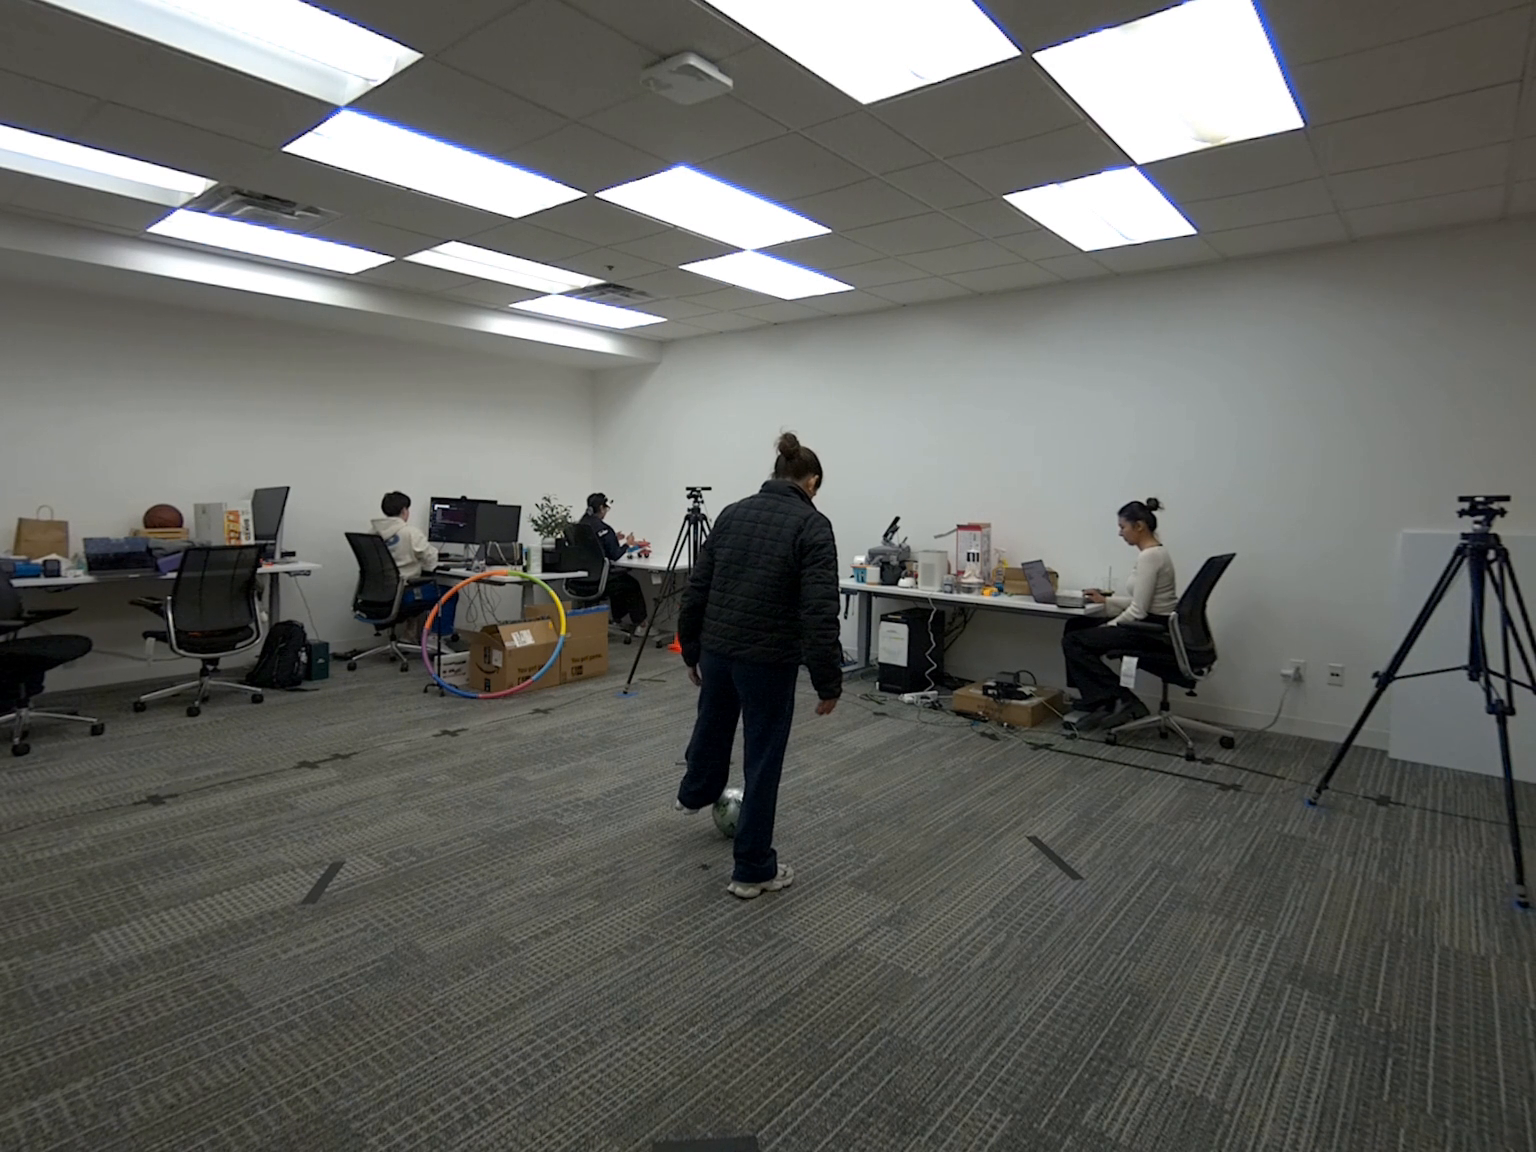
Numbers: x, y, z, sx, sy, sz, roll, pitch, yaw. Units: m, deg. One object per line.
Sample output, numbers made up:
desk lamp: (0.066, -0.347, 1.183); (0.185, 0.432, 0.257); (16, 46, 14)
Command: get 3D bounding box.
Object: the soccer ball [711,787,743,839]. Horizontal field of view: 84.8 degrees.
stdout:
soccer ball: (-0.130, 0.940, 3.406); (0.187, 0.187, 0.188); (1, 4, -2)
